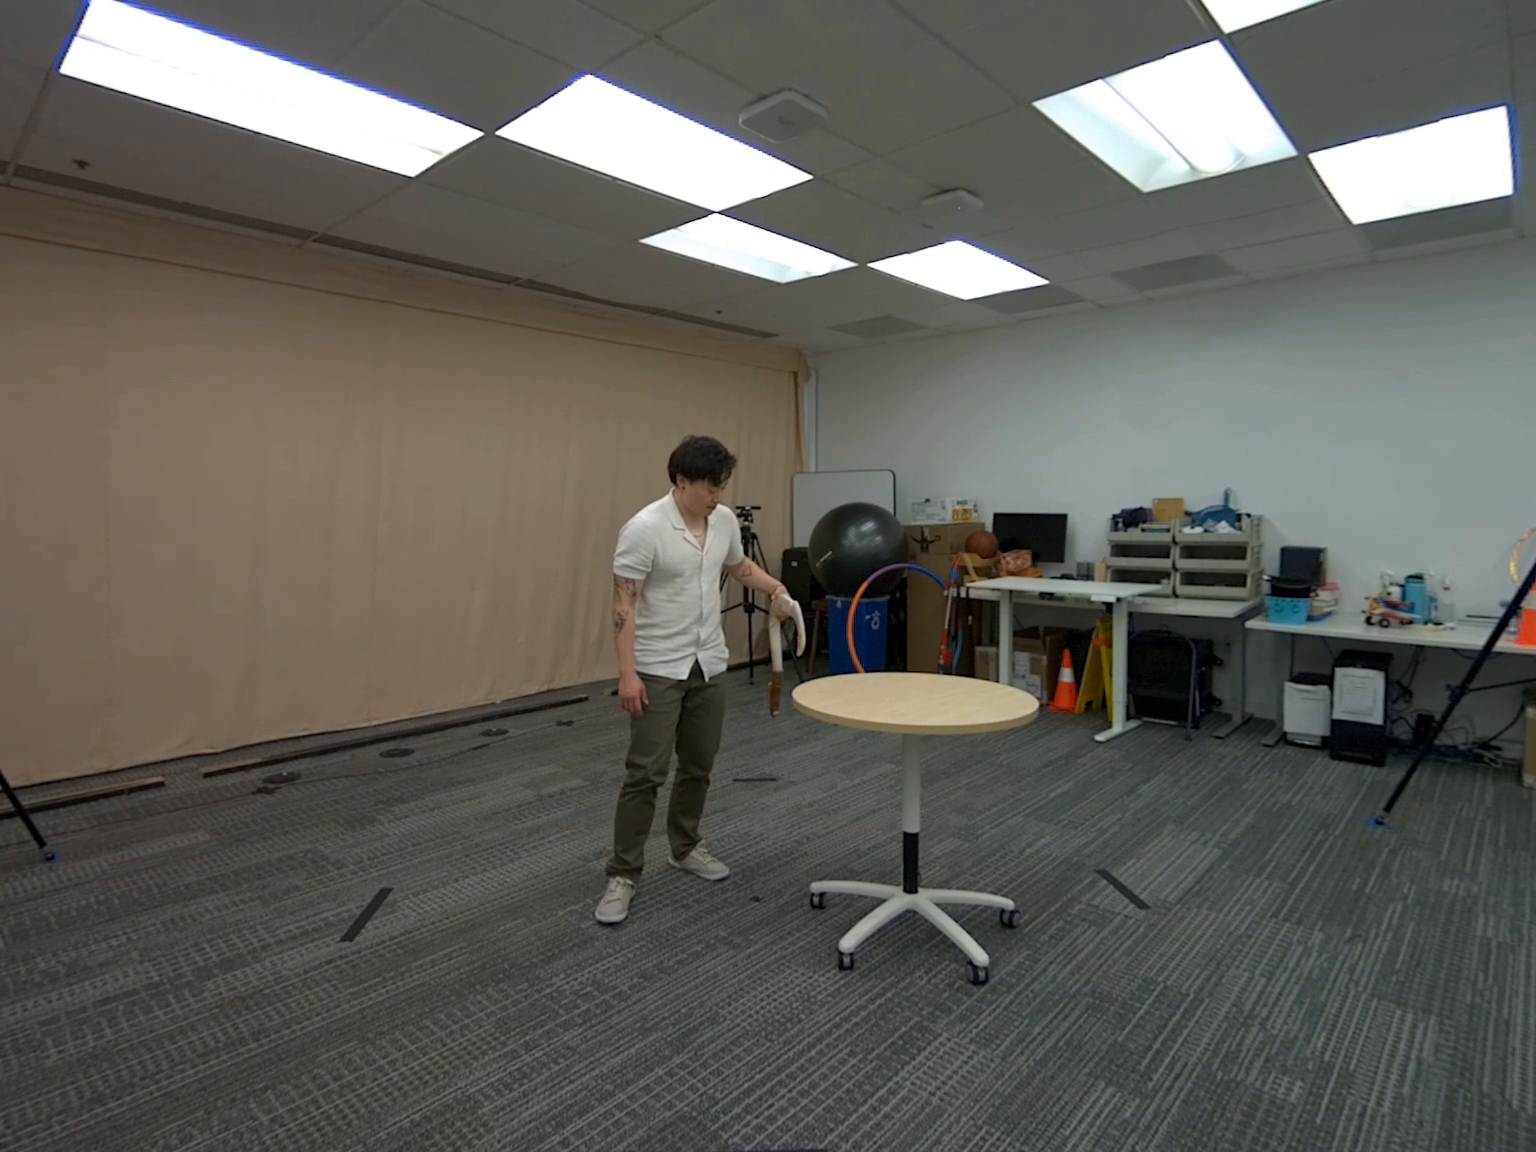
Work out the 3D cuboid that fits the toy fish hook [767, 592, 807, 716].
[{"bbox_3d":[0.062,0.324,3.121,0.047,0.502,0.232,-4,20,-26],"label":"toy fish hook"}]
